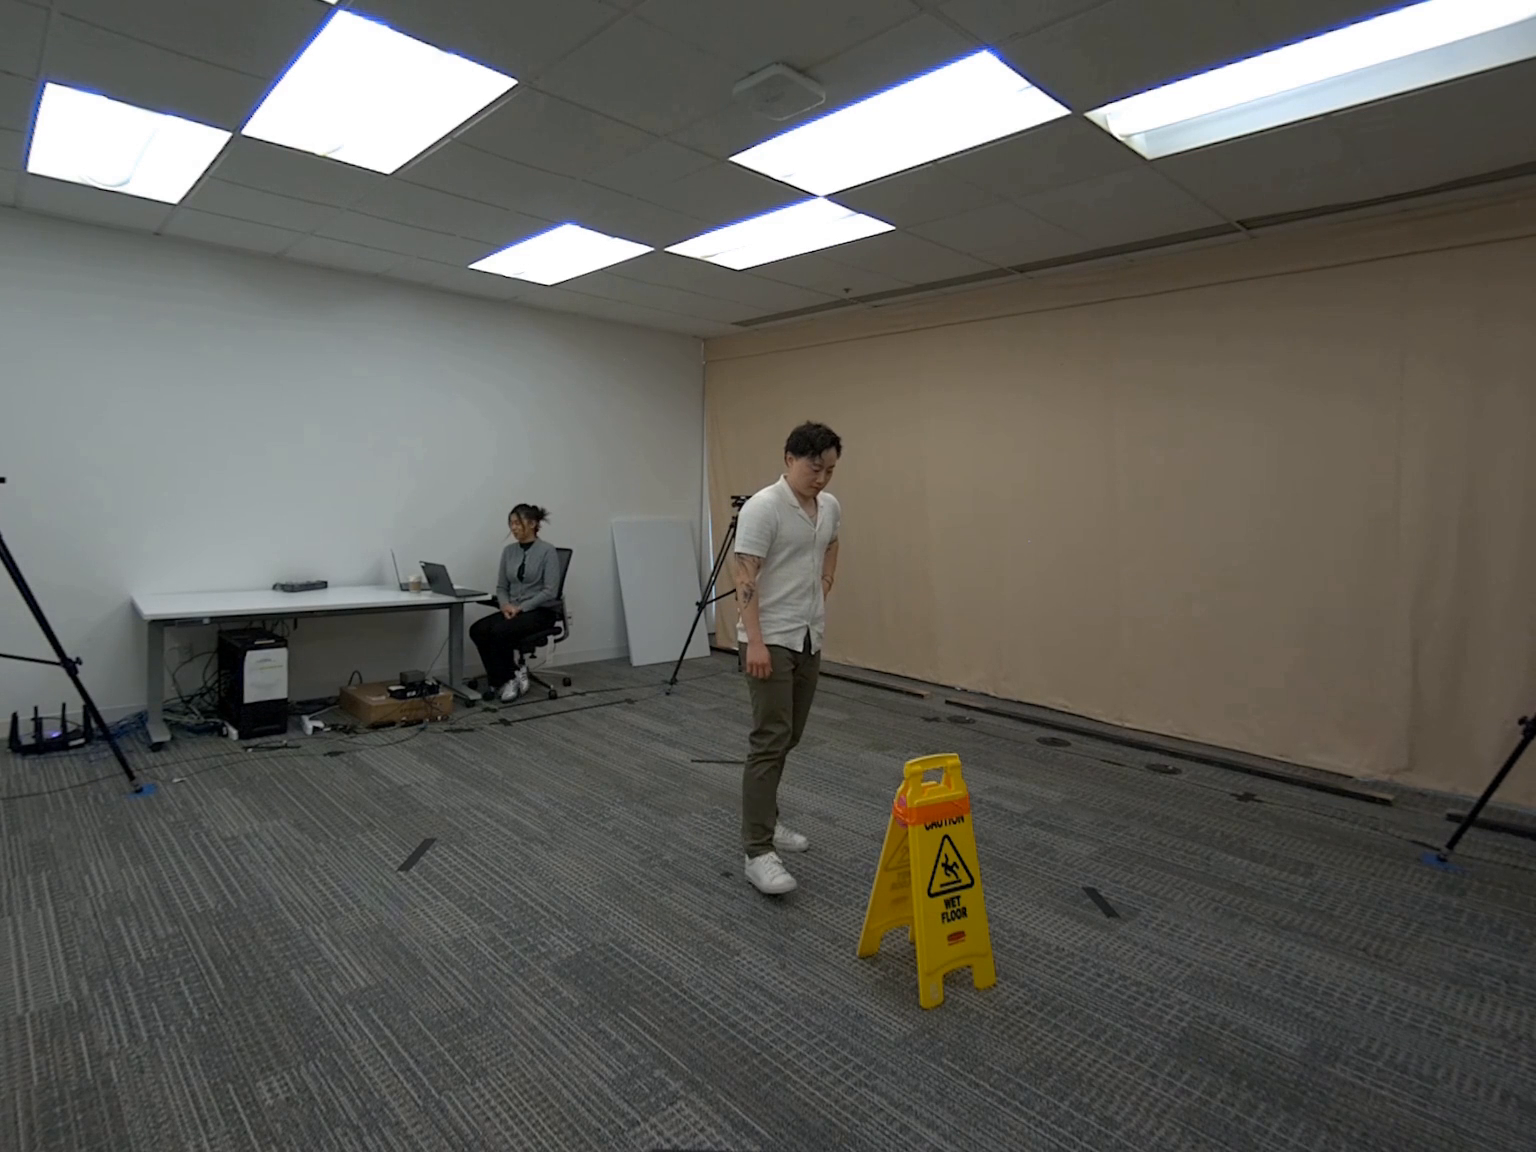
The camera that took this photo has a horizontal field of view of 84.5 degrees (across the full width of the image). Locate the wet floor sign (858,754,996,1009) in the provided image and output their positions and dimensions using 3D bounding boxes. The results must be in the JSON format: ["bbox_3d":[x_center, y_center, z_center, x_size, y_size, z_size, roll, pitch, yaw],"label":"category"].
[{"bbox_3d":[0.467,0.853,2.482,0.276,0.644,0.296,0,4,-31],"label":"wet floor sign"}]
